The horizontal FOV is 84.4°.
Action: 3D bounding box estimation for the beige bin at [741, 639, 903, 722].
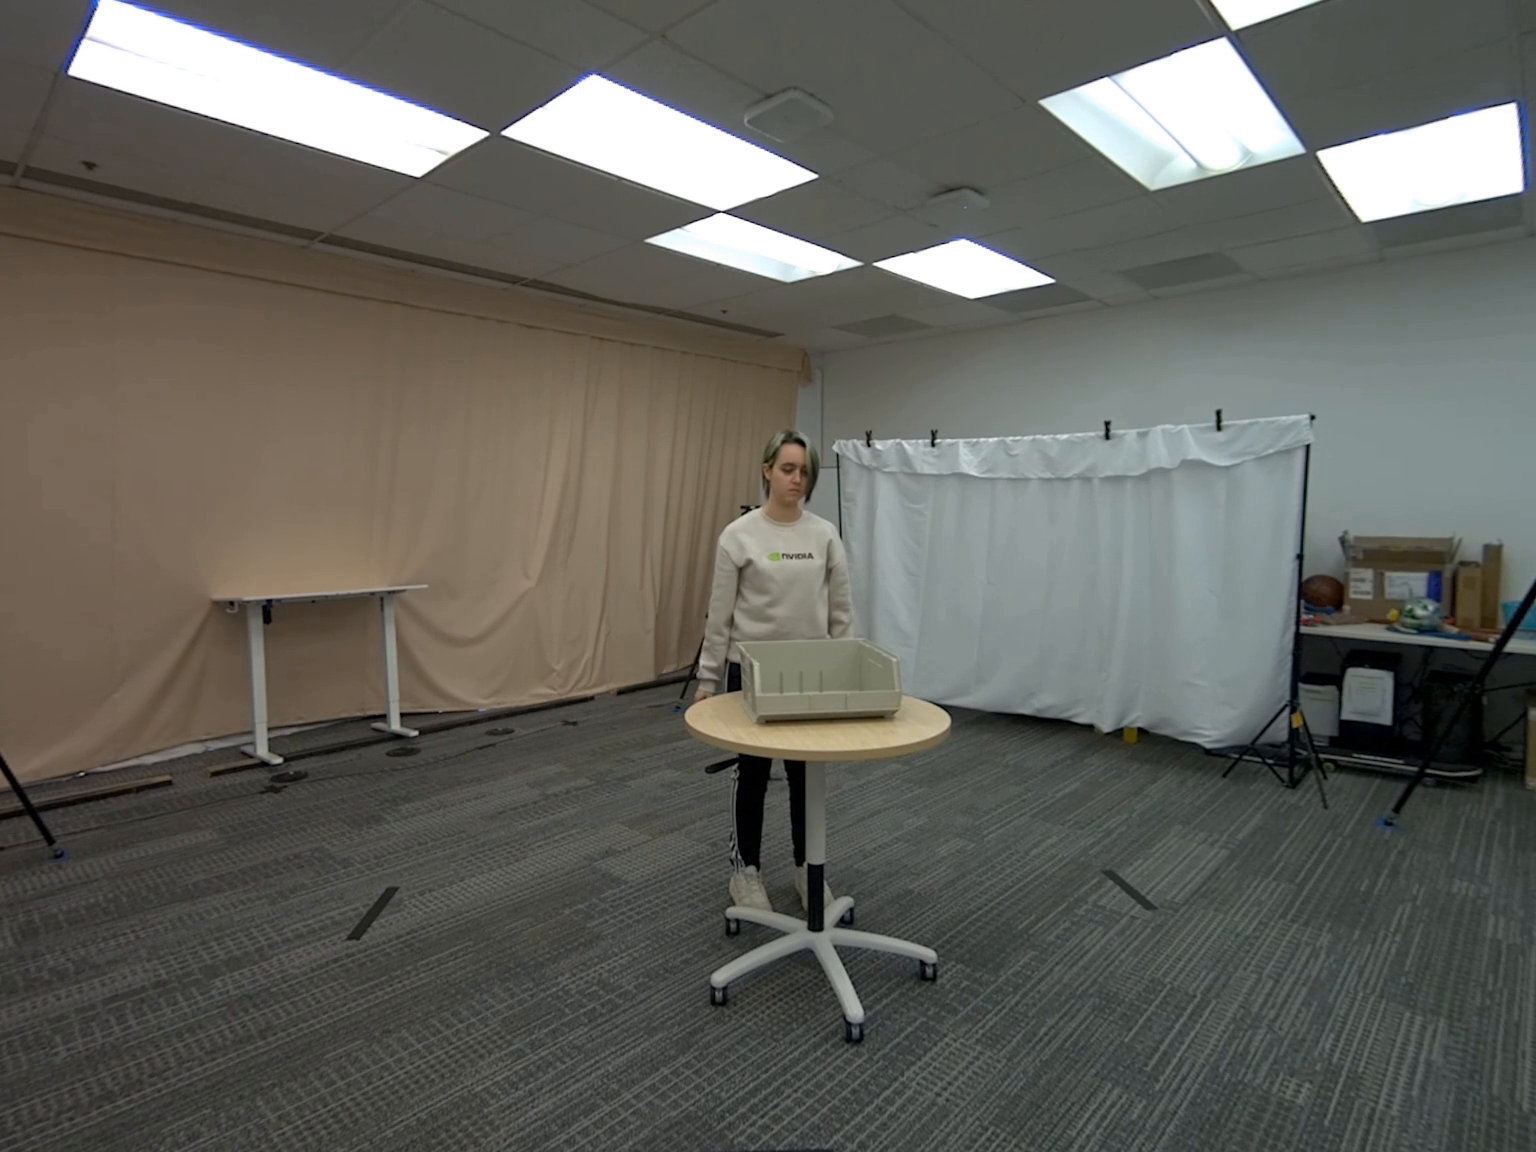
[{"bbox_3d":[0.137,0.309,2.512,0.419,0.188,0.381,-2,4,-9],"label":"beige bin"}]
